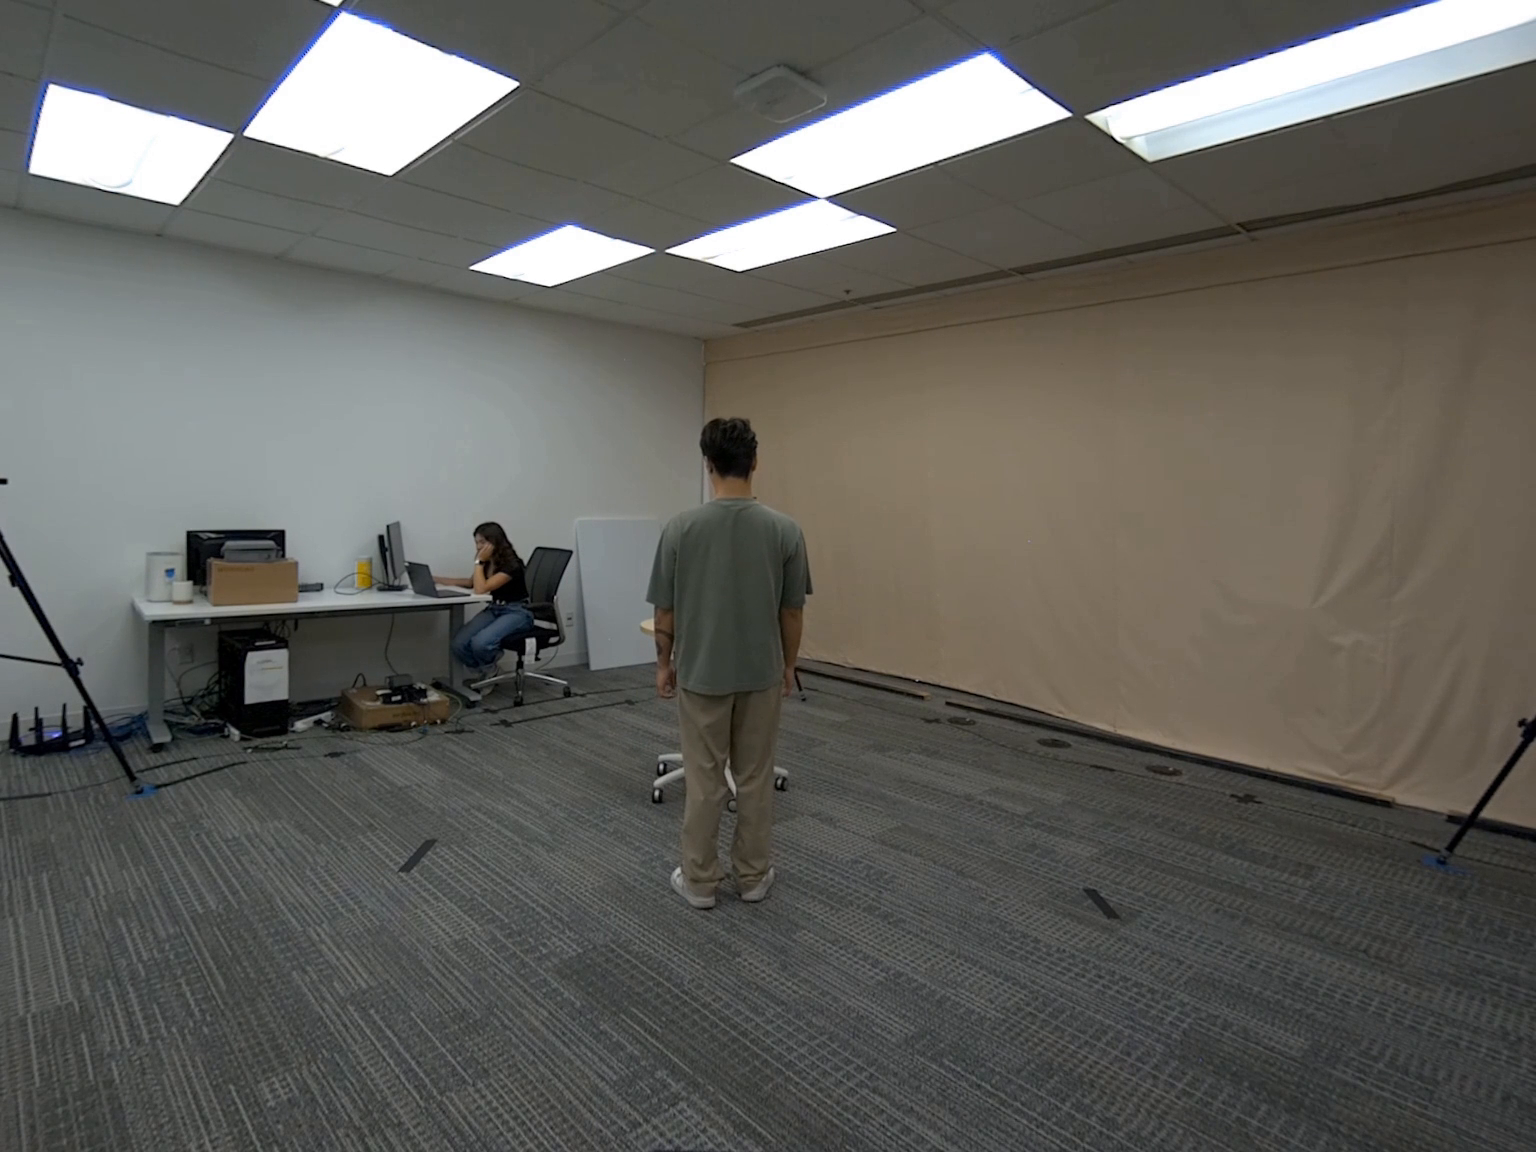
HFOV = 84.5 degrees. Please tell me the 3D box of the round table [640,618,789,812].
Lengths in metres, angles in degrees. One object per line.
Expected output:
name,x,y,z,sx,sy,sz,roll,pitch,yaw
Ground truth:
round table,-0.239,0.632,4.050,0.784,0.785,0.787,1,4,-1
